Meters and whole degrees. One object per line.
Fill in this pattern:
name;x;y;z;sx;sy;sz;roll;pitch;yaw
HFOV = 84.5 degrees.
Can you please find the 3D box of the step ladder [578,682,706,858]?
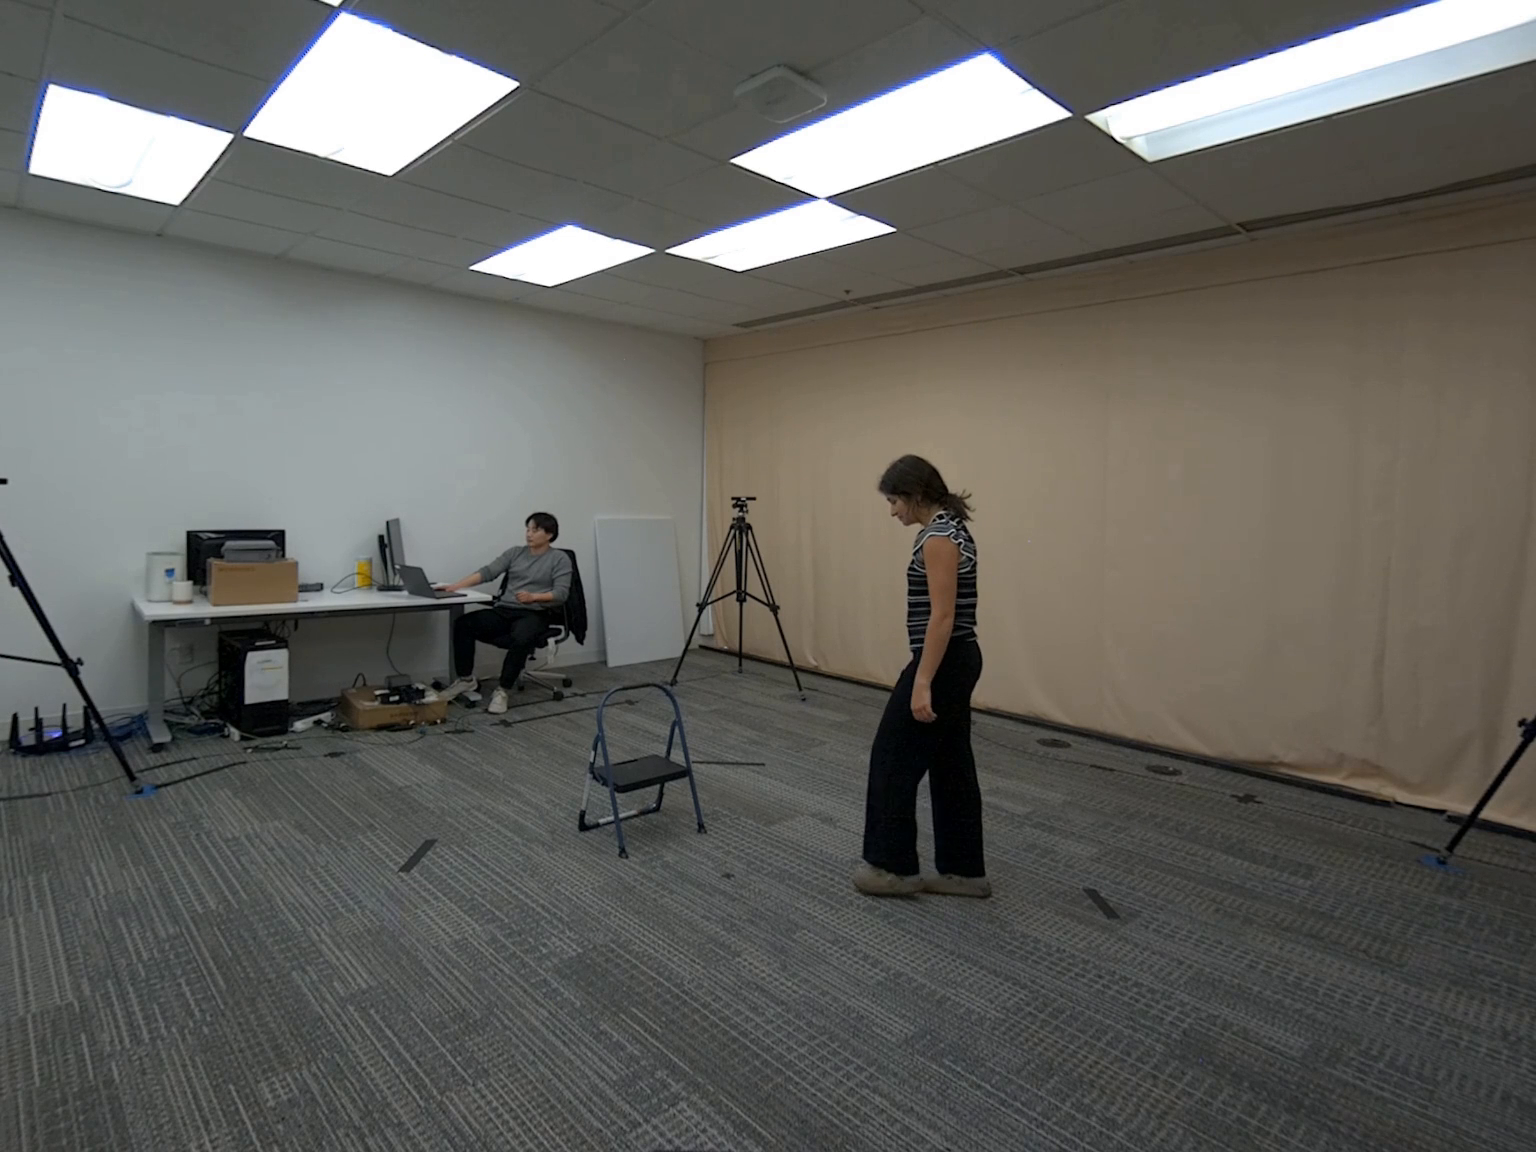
step ladder;-0.525;0.765;3.491;0.421;0.605;0.358;-2;5;-43
